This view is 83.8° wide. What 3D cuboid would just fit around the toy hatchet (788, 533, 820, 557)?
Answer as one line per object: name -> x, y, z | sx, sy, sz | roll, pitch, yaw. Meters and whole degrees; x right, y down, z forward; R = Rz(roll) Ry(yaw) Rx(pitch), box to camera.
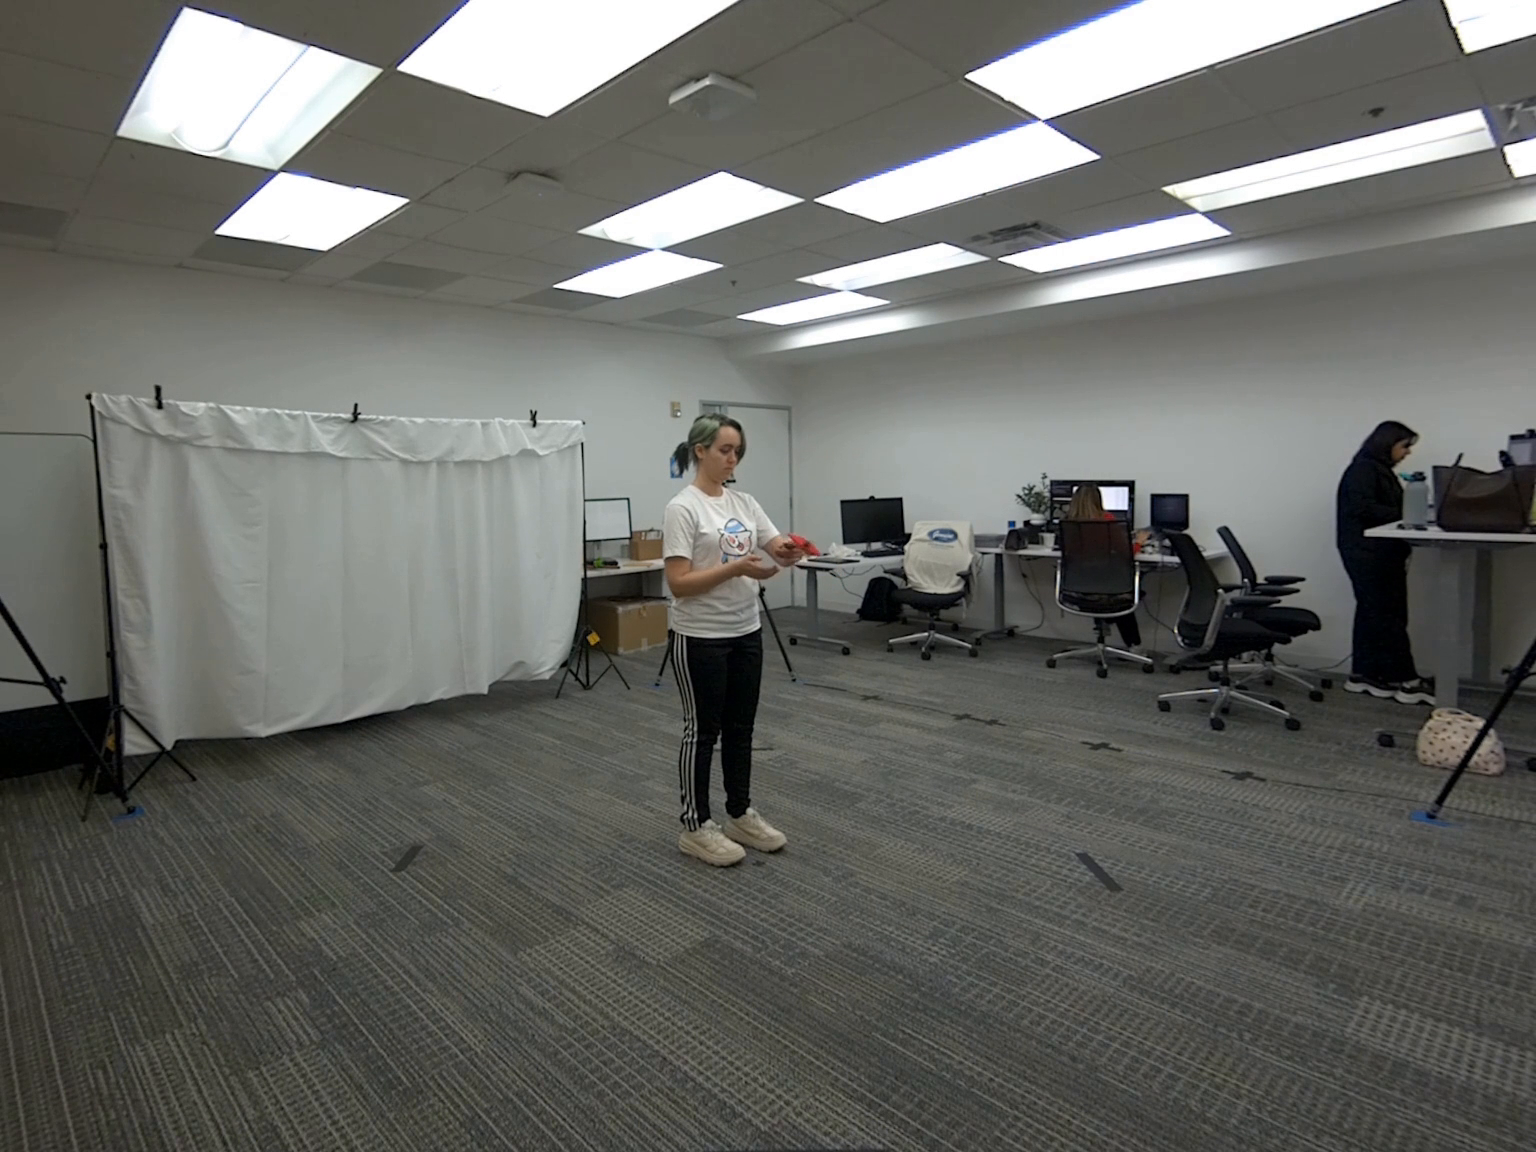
toy hatchet -> 0.104, -0.092, 2.915 | 0.131, 0.029, 0.268 | 31, -8, 1
